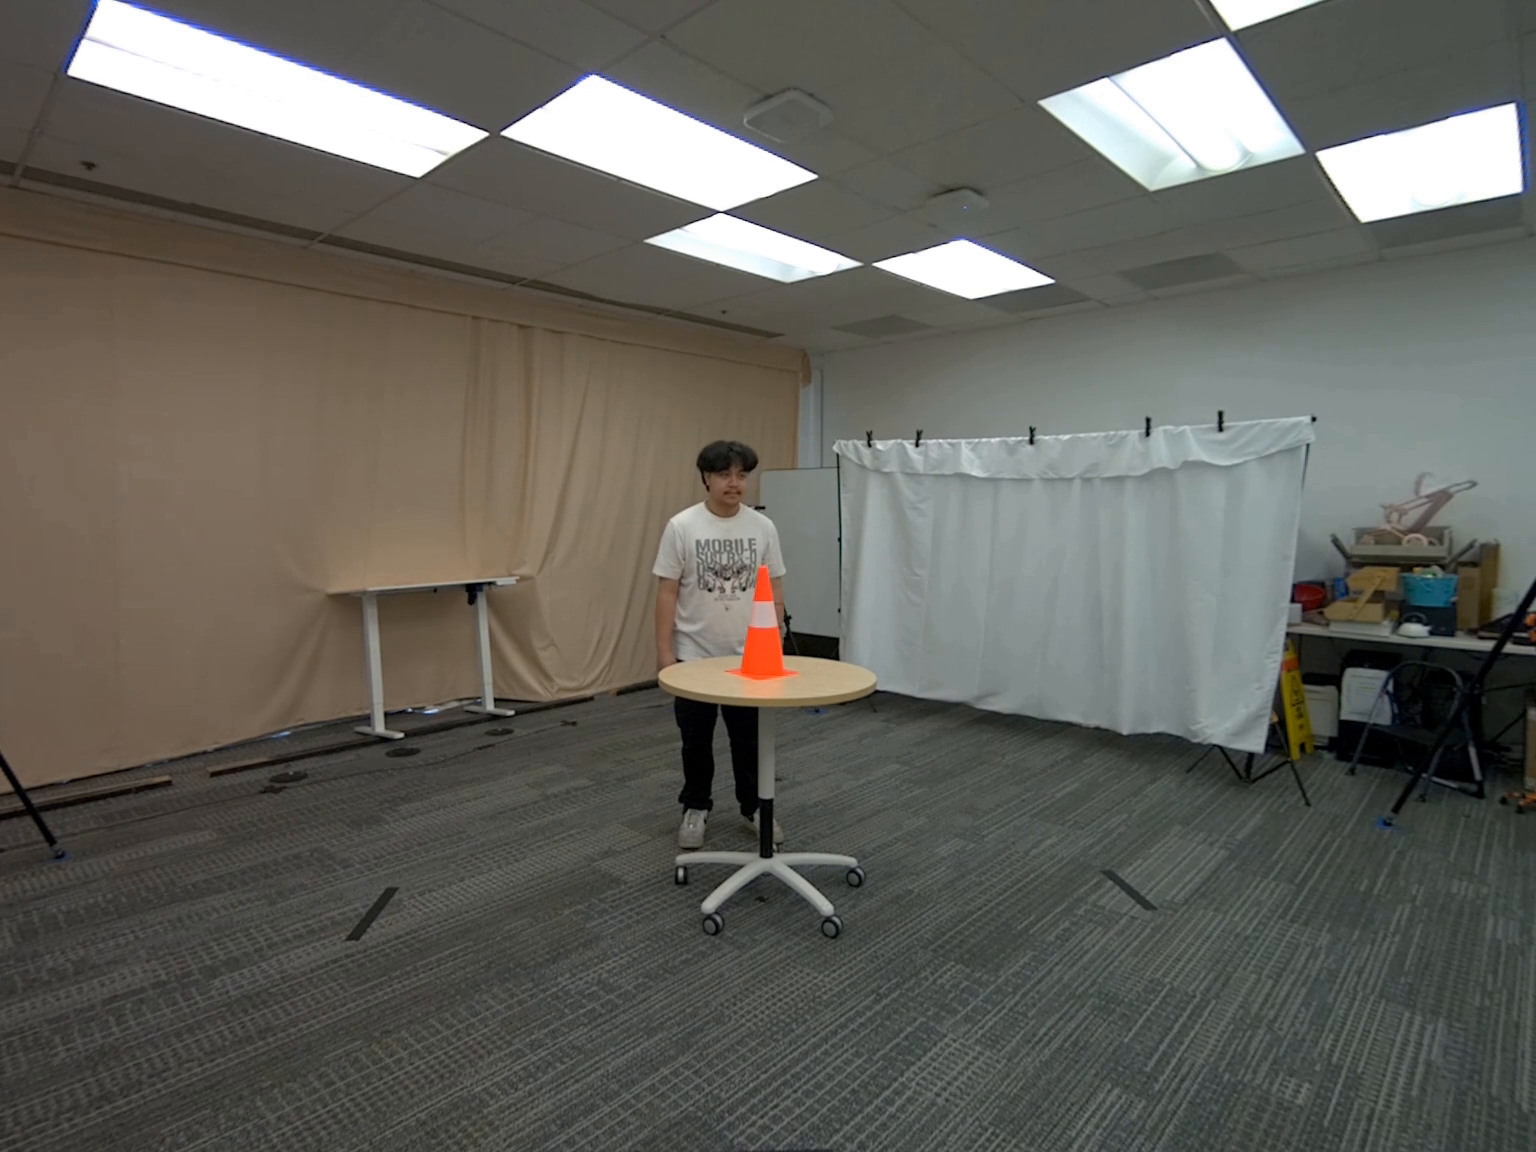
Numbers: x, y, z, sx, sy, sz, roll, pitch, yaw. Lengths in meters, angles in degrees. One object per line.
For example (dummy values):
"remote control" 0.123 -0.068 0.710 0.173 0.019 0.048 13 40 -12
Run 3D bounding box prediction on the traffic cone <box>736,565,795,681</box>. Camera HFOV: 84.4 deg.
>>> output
"traffic cone" -0.018 0.156 3.009 0.212 0.383 0.197 3 4 39
